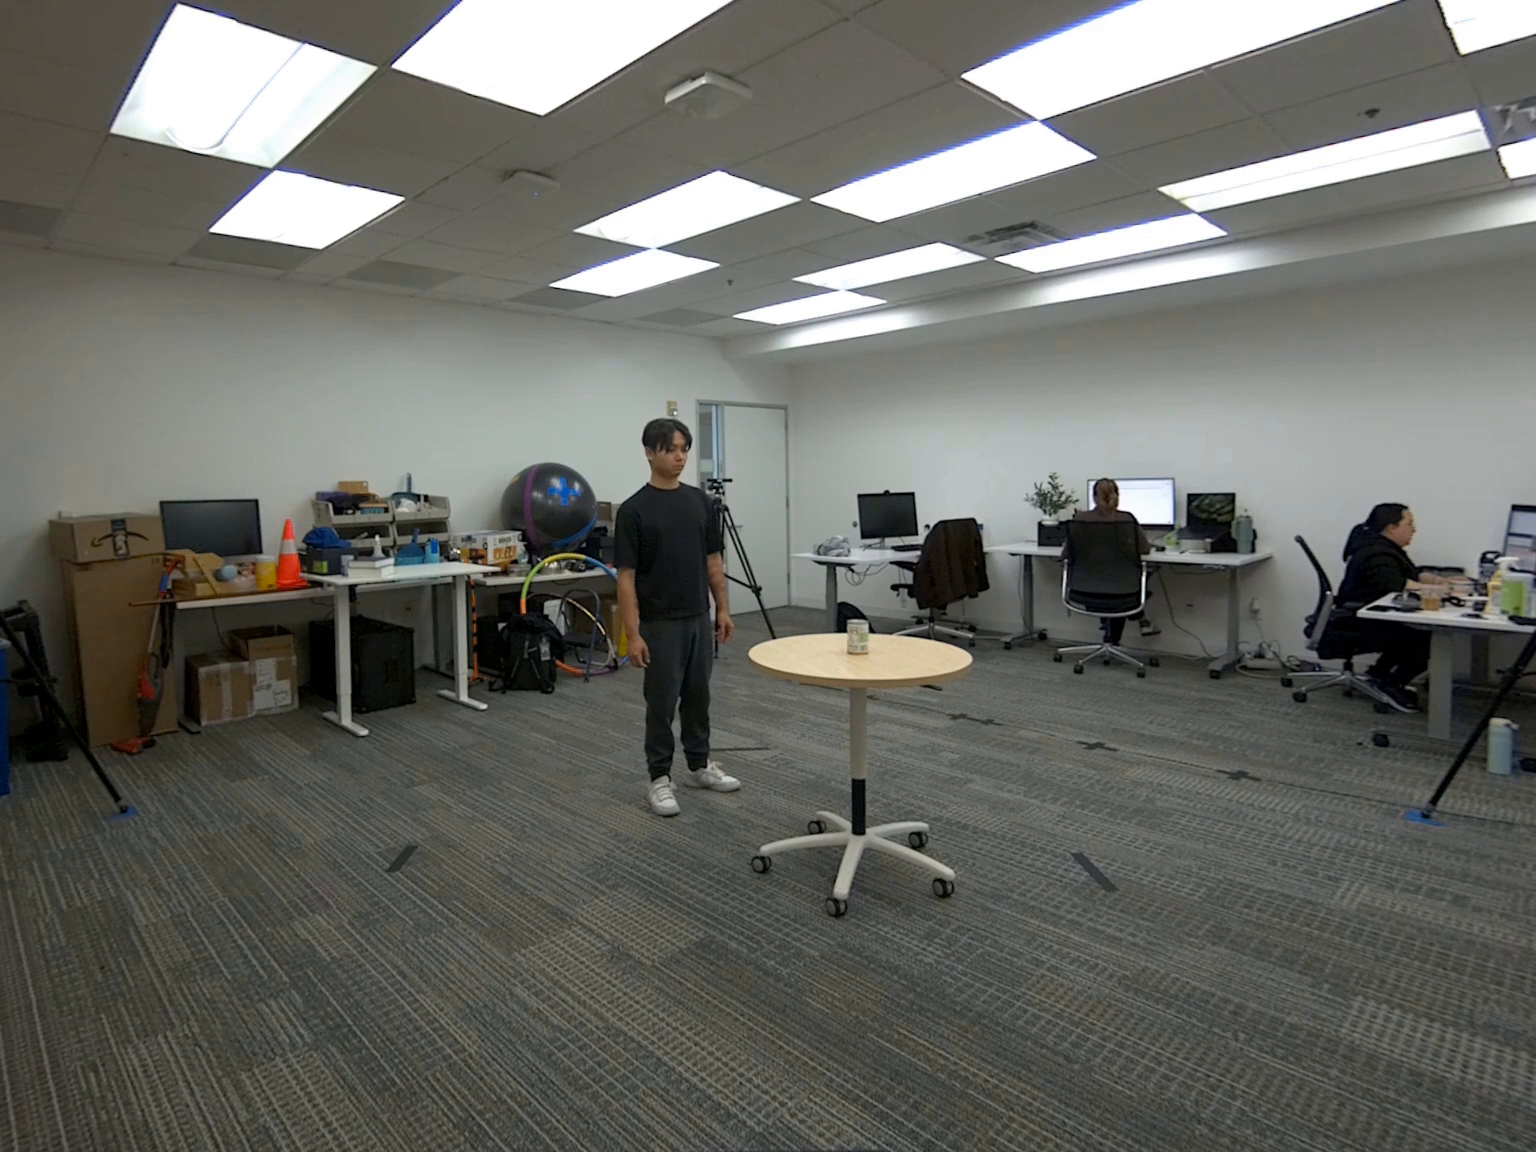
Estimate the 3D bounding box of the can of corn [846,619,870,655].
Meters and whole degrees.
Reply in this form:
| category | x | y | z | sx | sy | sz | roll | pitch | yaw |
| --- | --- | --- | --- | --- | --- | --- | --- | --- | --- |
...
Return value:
| category | x | y | z | sx | sy | sz | roll | pitch | yaw |
| --- | --- | --- | --- | --- | --- | --- | --- | --- | --- |
| can of corn | 0.321 | 0.215 | 2.983 | 0.074 | 0.110 | 0.075 | 0 | 6 | -2 |
